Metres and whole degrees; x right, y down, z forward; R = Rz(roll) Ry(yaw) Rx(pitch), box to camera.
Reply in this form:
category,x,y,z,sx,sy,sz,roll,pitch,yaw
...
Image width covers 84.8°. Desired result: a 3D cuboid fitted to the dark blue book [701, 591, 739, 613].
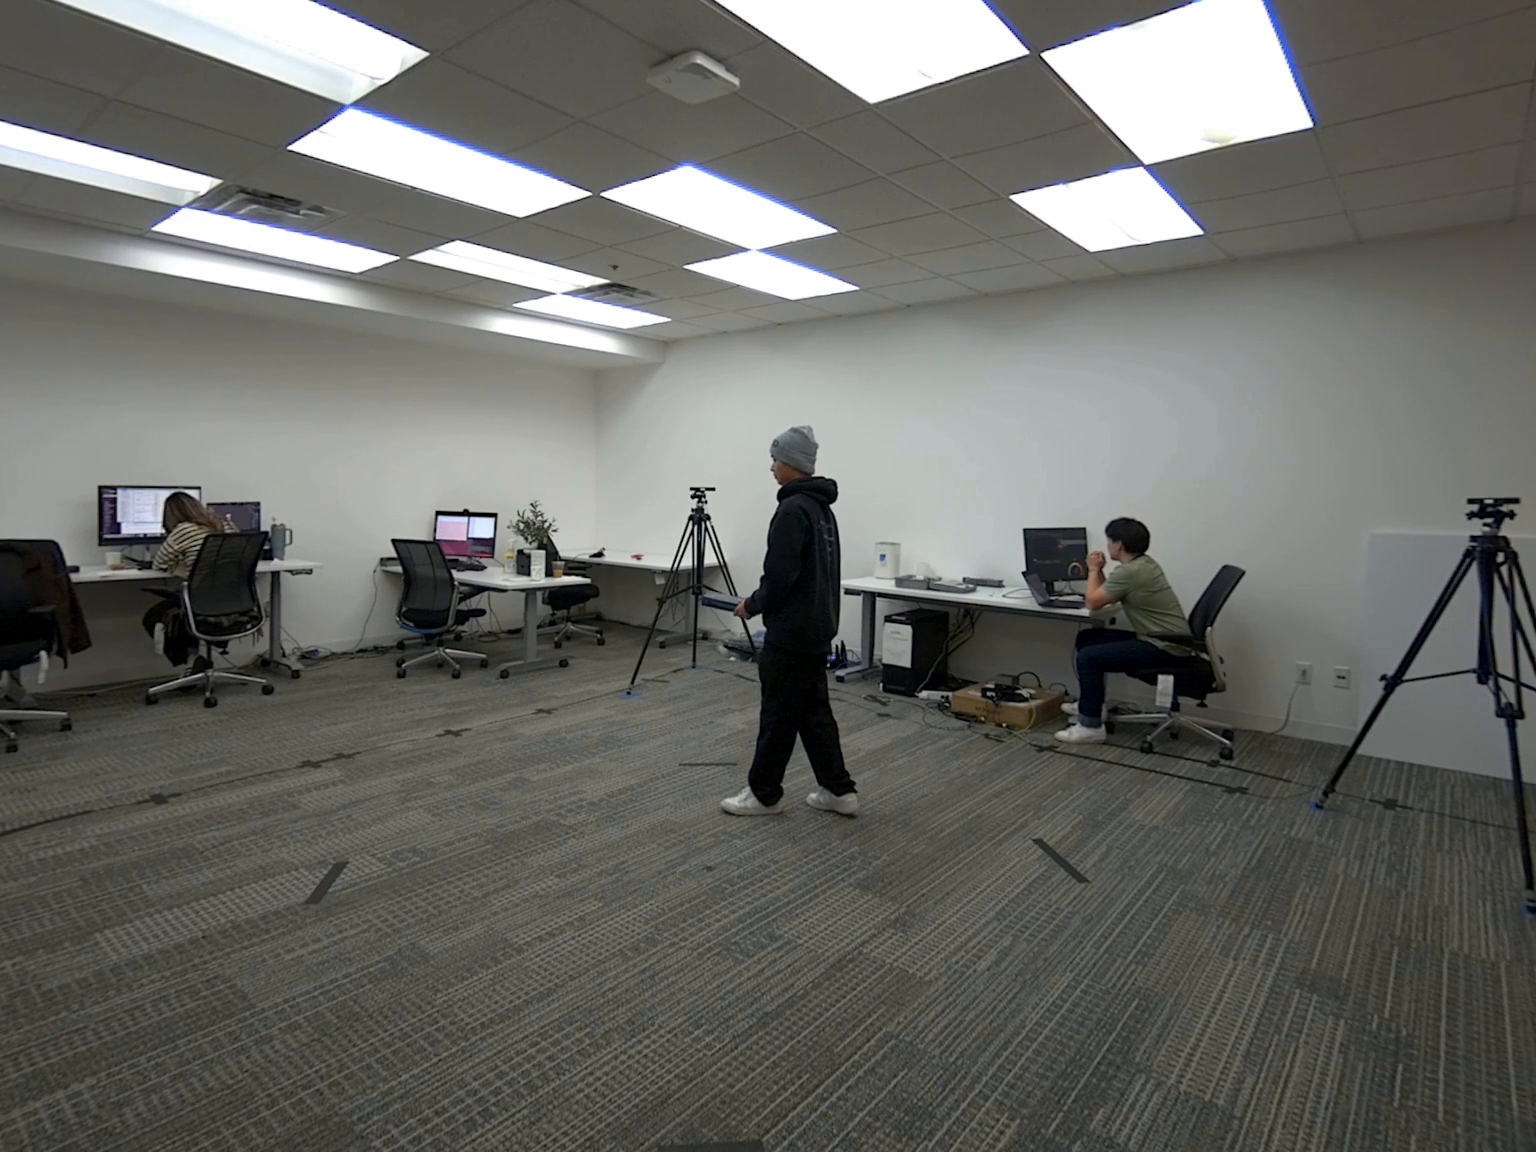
category,x,y,z,sx,sy,sz,roll,pitch,yaw
dark blue book,-0.157,0.117,3.793,0.248,0.045,0.163,10,9,8
